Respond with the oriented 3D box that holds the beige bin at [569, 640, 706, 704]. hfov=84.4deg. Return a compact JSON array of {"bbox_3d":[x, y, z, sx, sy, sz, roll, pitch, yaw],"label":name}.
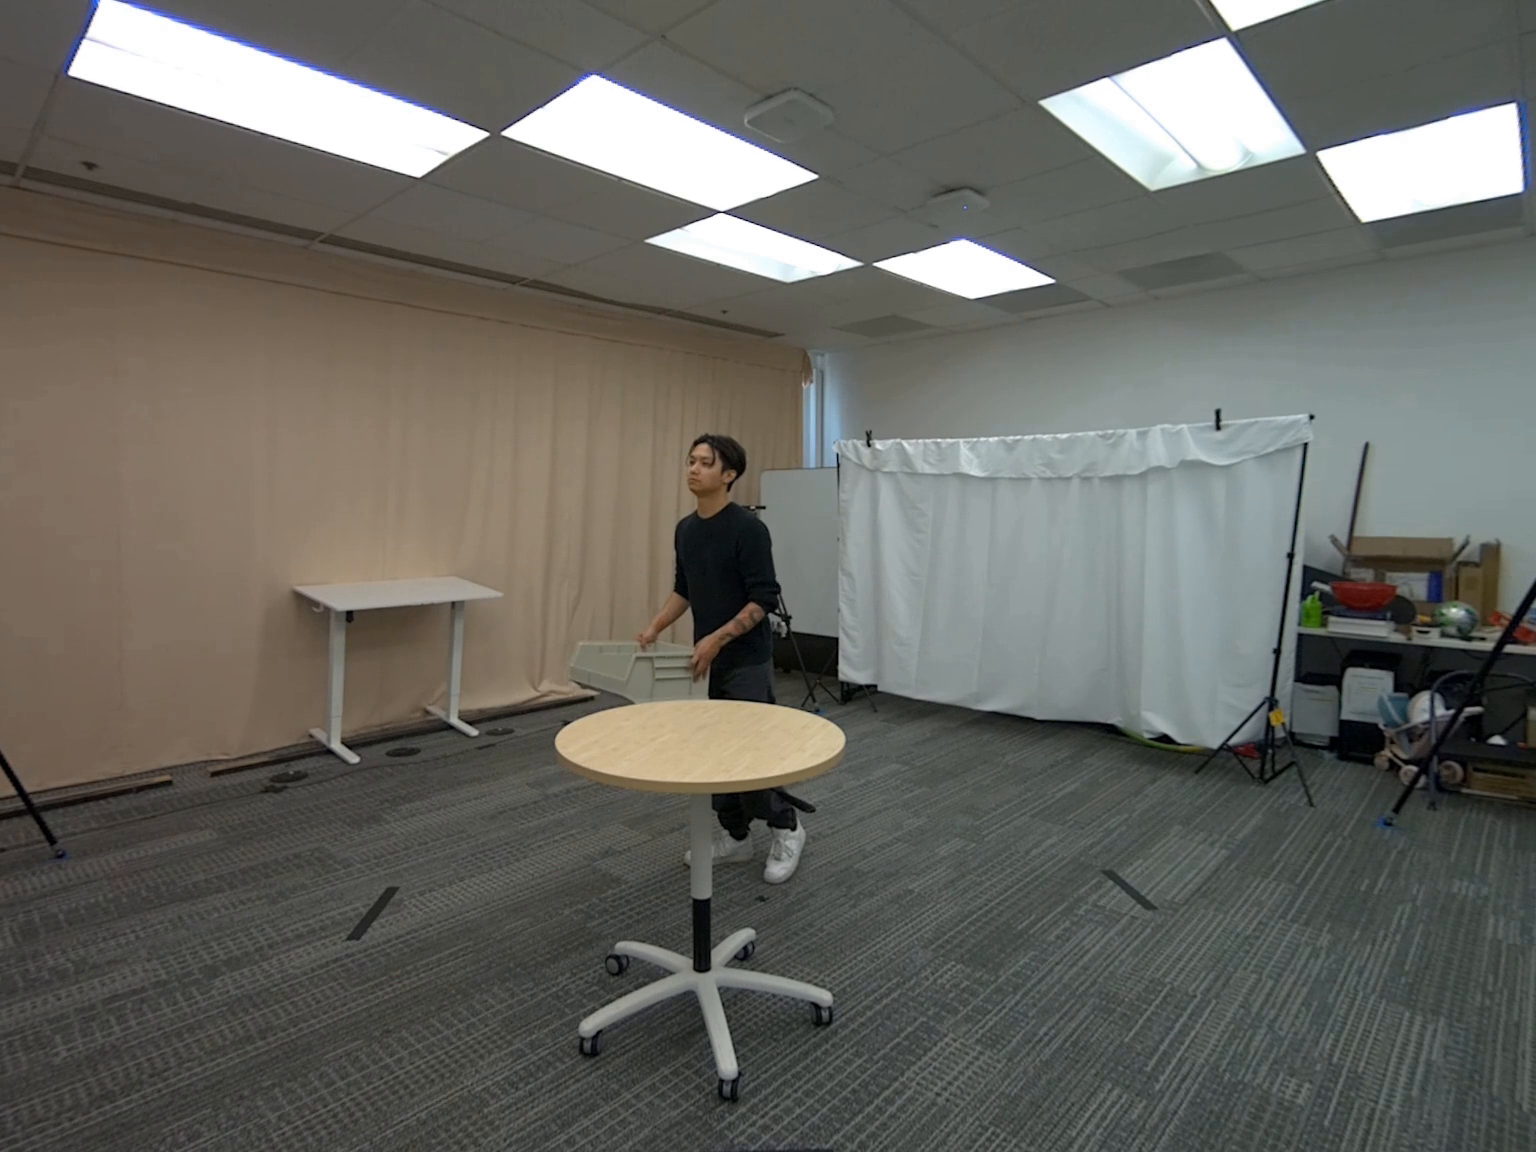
[{"bbox_3d":[-0.468,0.349,3.097,0.365,0.189,0.436,5,-1,-38],"label":"beige bin"}]
